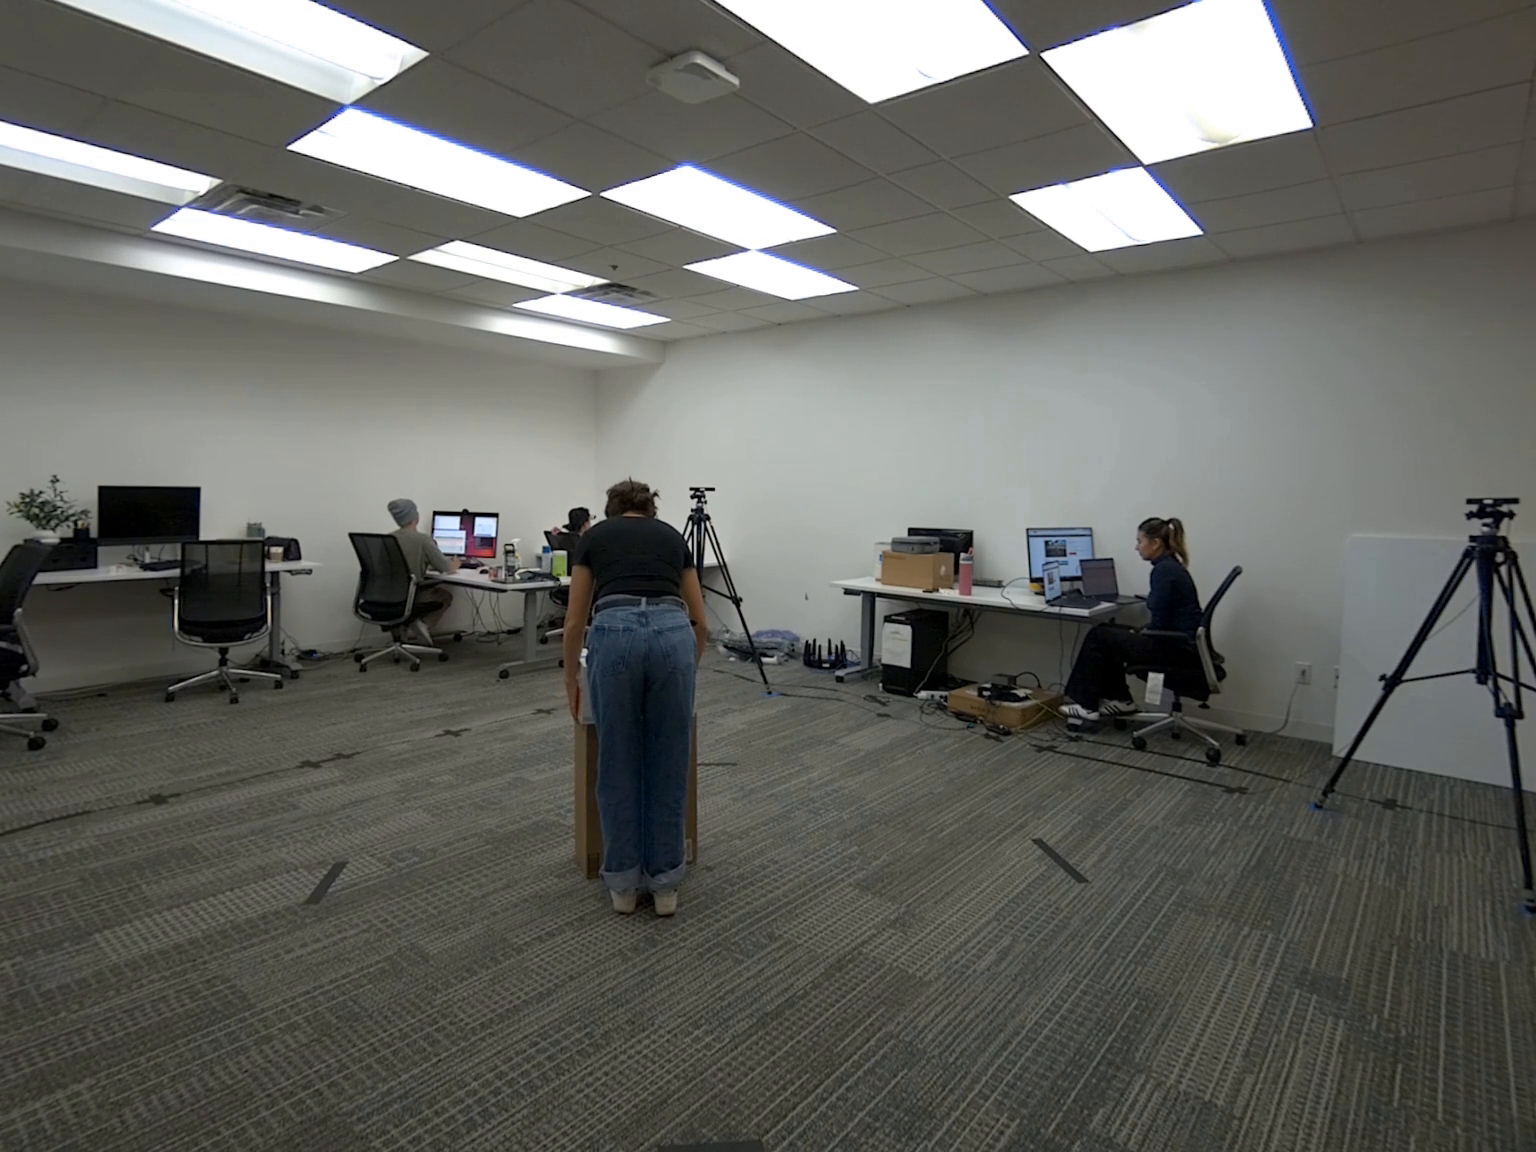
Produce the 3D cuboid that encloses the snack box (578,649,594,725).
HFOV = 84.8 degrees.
[{"bbox_3d":[-0.515,0.386,3.124,0.397,0.205,0.348,0,5,-20],"label":"snack box"}]
